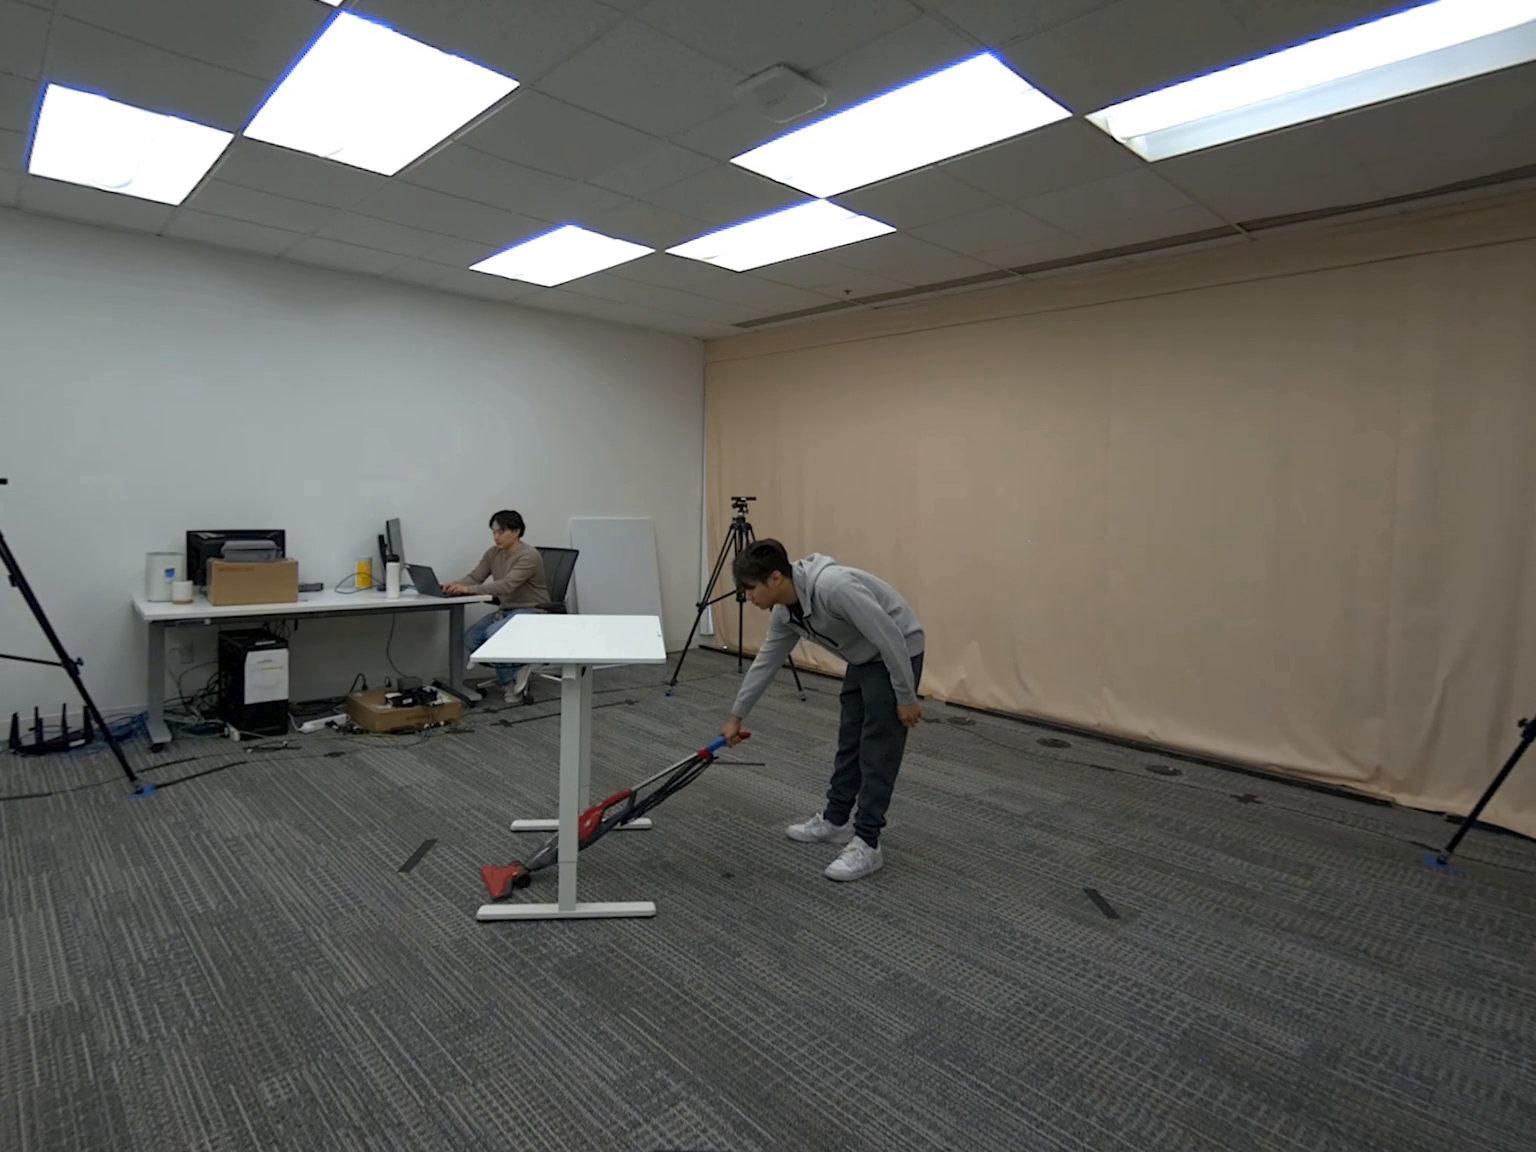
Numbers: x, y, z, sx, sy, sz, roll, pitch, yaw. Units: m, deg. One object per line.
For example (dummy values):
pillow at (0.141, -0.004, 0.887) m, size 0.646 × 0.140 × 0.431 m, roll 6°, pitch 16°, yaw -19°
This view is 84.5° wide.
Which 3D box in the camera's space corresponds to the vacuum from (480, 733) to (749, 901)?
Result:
vacuum at (-0.515, 0.874, 3.198) m, size 1.039 × 0.141 × 0.260 m, roll -24°, pitch 25°, yaw -23°
